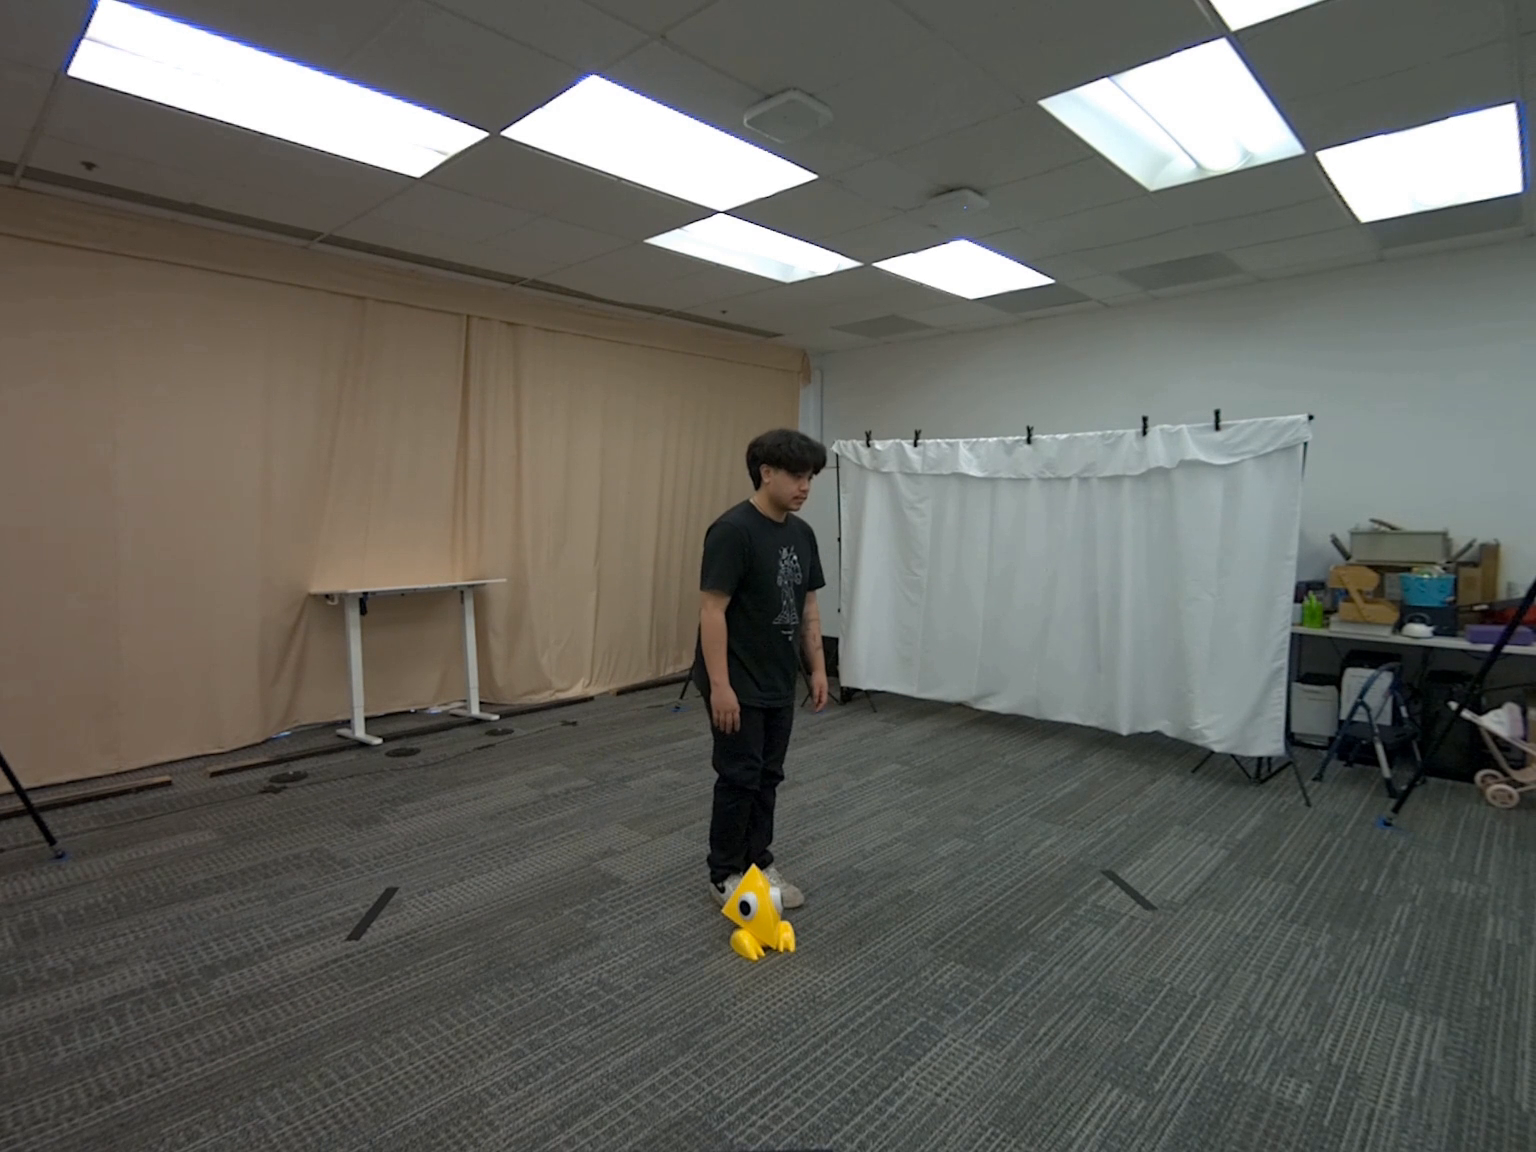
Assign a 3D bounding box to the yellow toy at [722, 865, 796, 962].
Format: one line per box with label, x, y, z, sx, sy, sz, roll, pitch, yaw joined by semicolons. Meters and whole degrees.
yellow toy;-0.018;1.053;2.685;0.200;0.230;0.198;-1;3;-25
